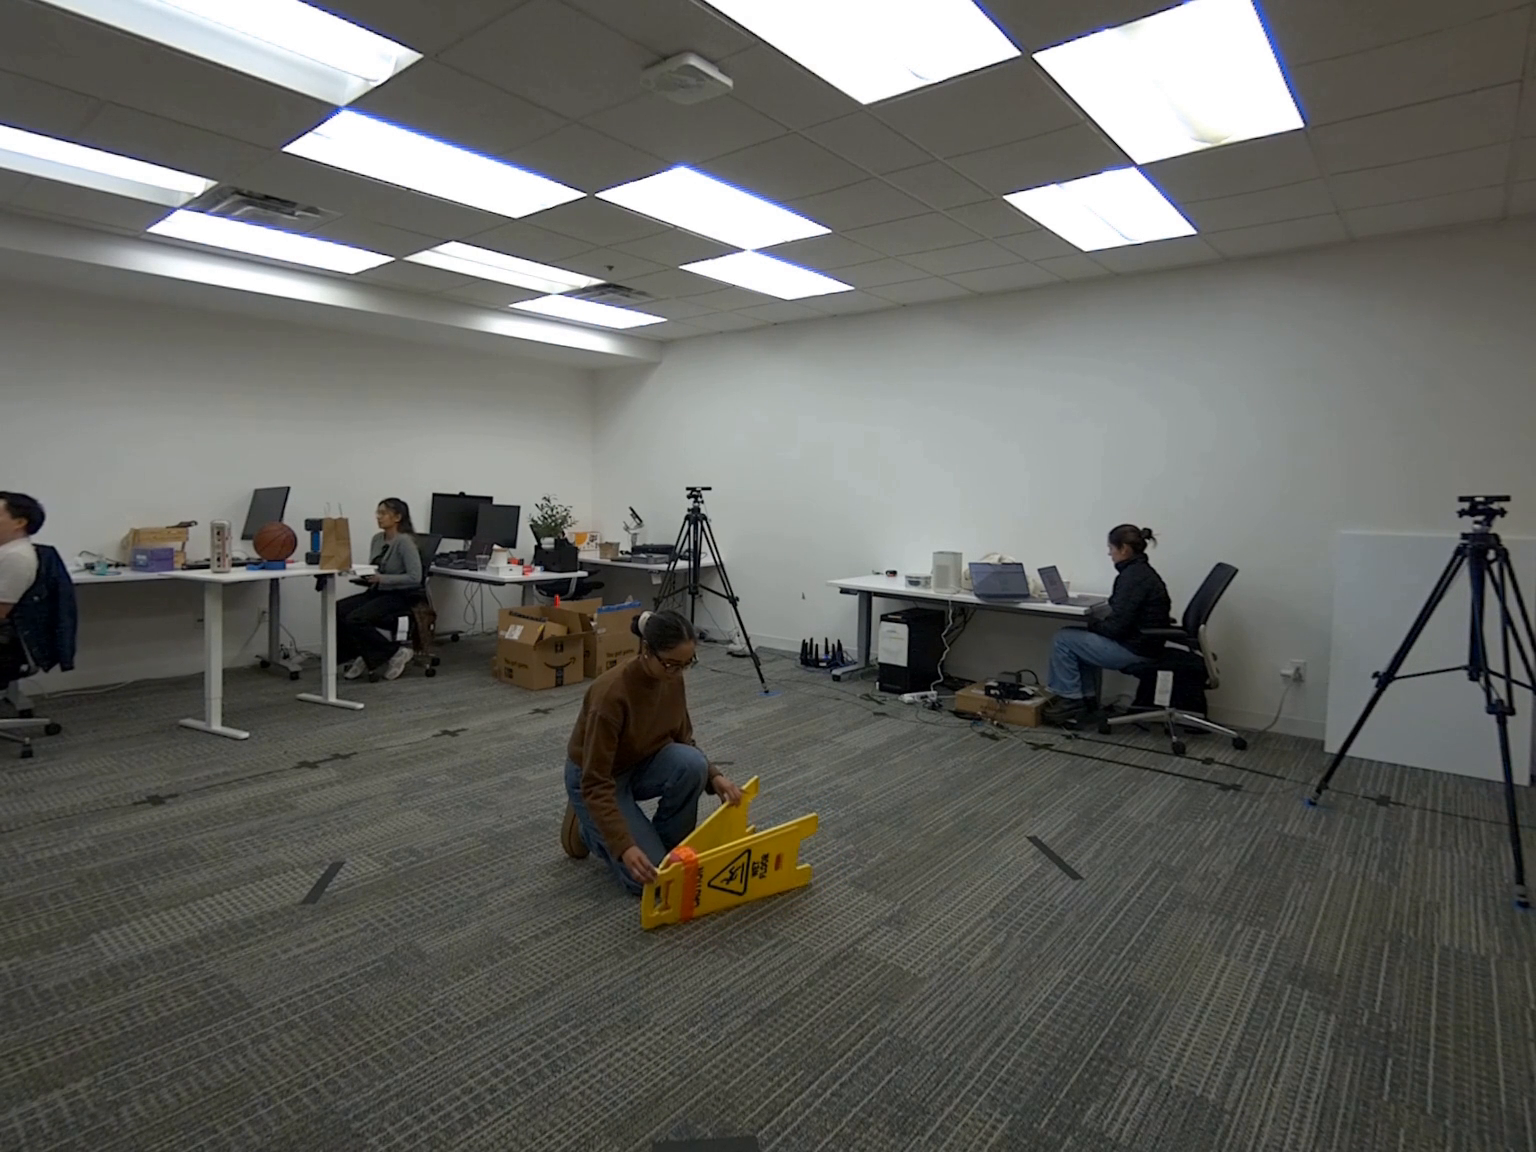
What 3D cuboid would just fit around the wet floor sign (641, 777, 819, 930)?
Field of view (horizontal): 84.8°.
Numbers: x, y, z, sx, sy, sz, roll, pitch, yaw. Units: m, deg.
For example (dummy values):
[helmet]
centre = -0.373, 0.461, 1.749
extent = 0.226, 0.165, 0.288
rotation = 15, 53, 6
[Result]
[wet floor sign]
centre = -0.170, 0.957, 2.844
extent = 0.629, 0.278, 0.301
rotation = -11, 24, -43
